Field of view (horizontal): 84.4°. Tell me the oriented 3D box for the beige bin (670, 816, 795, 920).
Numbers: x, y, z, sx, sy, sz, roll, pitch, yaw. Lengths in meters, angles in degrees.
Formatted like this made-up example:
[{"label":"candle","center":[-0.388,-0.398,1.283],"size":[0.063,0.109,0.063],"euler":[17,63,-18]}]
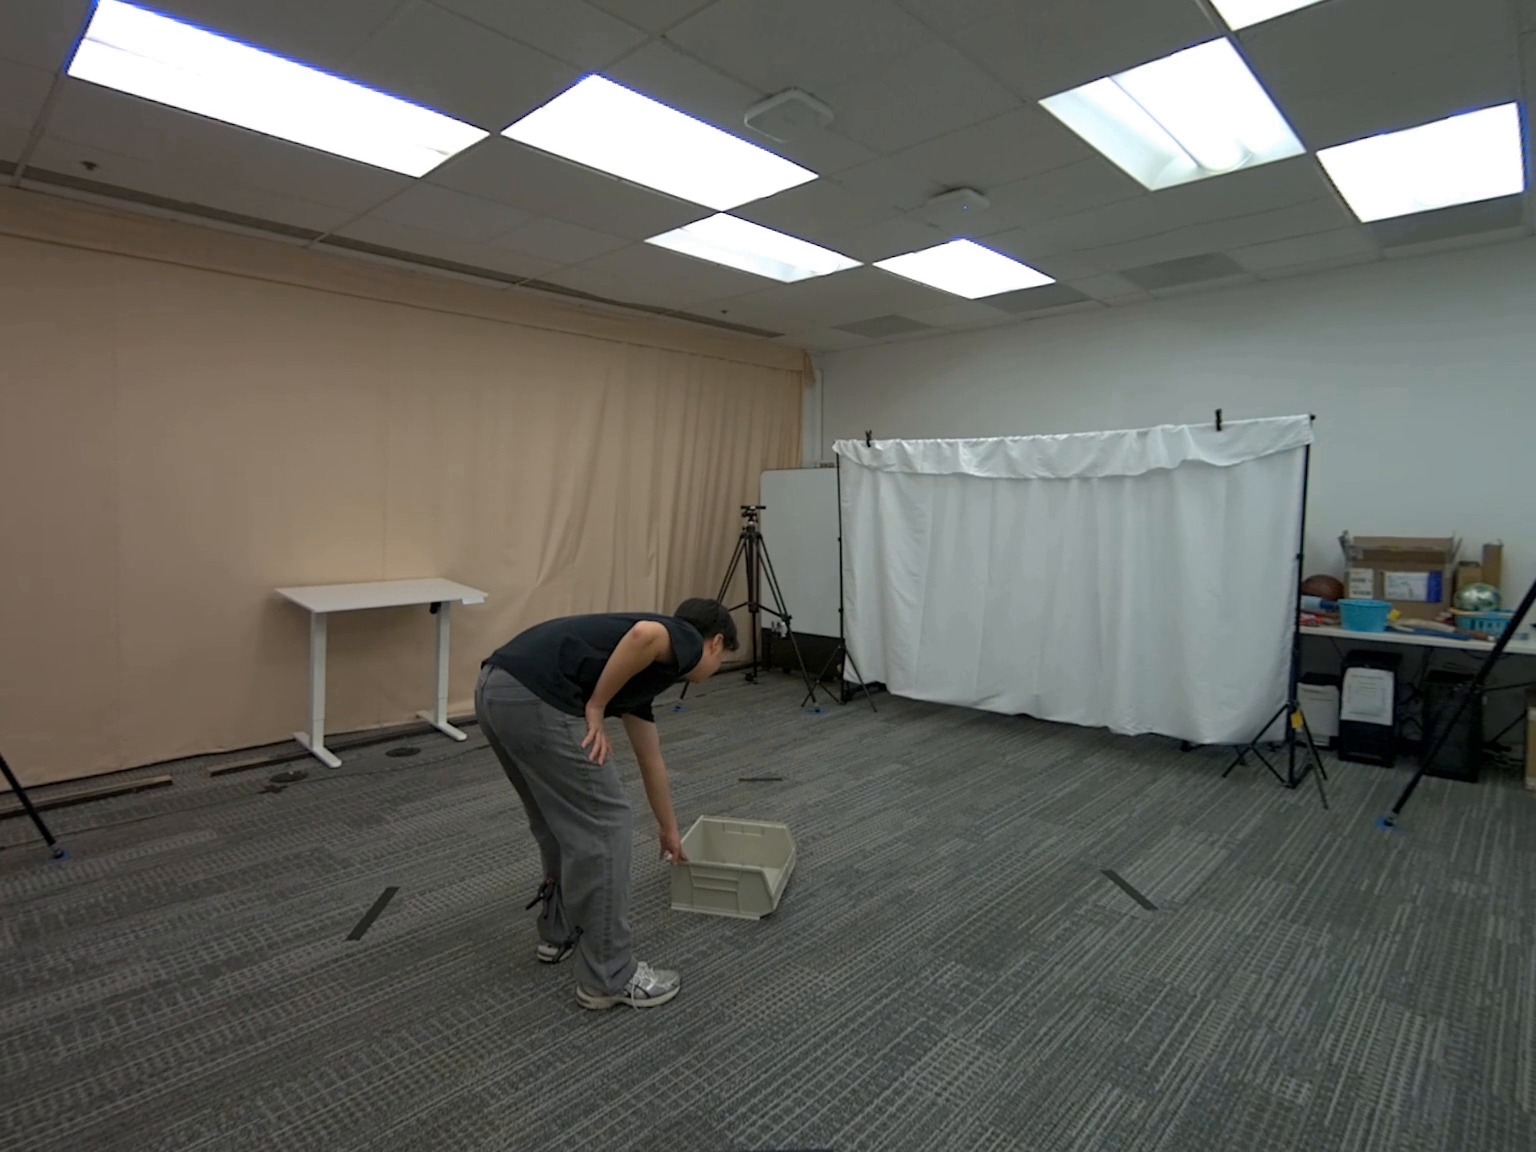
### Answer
[{"label":"beige bin","center":[-0.118,1.051,3.053],"size":[0.383,0.188,0.417],"euler":[0,5,13]}]
